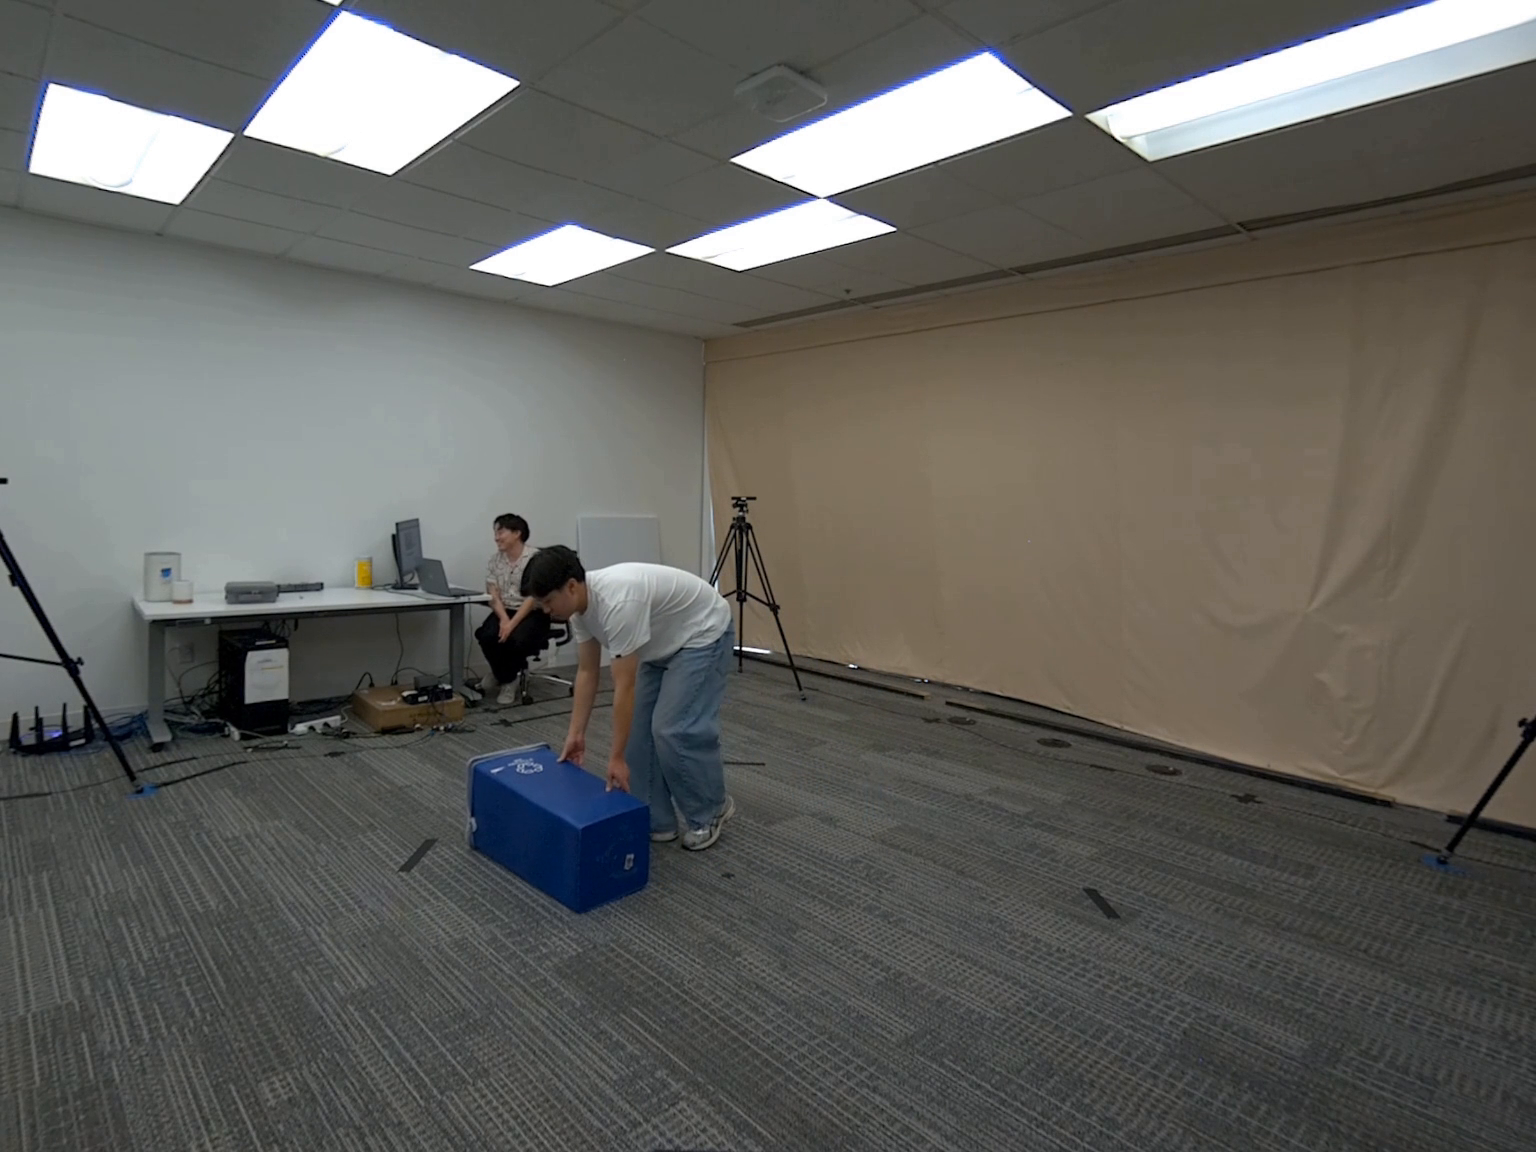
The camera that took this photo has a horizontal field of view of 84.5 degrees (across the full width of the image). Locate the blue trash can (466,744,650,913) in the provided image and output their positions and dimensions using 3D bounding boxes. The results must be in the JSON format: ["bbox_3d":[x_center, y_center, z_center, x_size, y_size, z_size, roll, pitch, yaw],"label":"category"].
[{"bbox_3d":[-0.786,0.925,3.125,0.733,0.376,0.365,10,9,43],"label":"blue trash can"}]
